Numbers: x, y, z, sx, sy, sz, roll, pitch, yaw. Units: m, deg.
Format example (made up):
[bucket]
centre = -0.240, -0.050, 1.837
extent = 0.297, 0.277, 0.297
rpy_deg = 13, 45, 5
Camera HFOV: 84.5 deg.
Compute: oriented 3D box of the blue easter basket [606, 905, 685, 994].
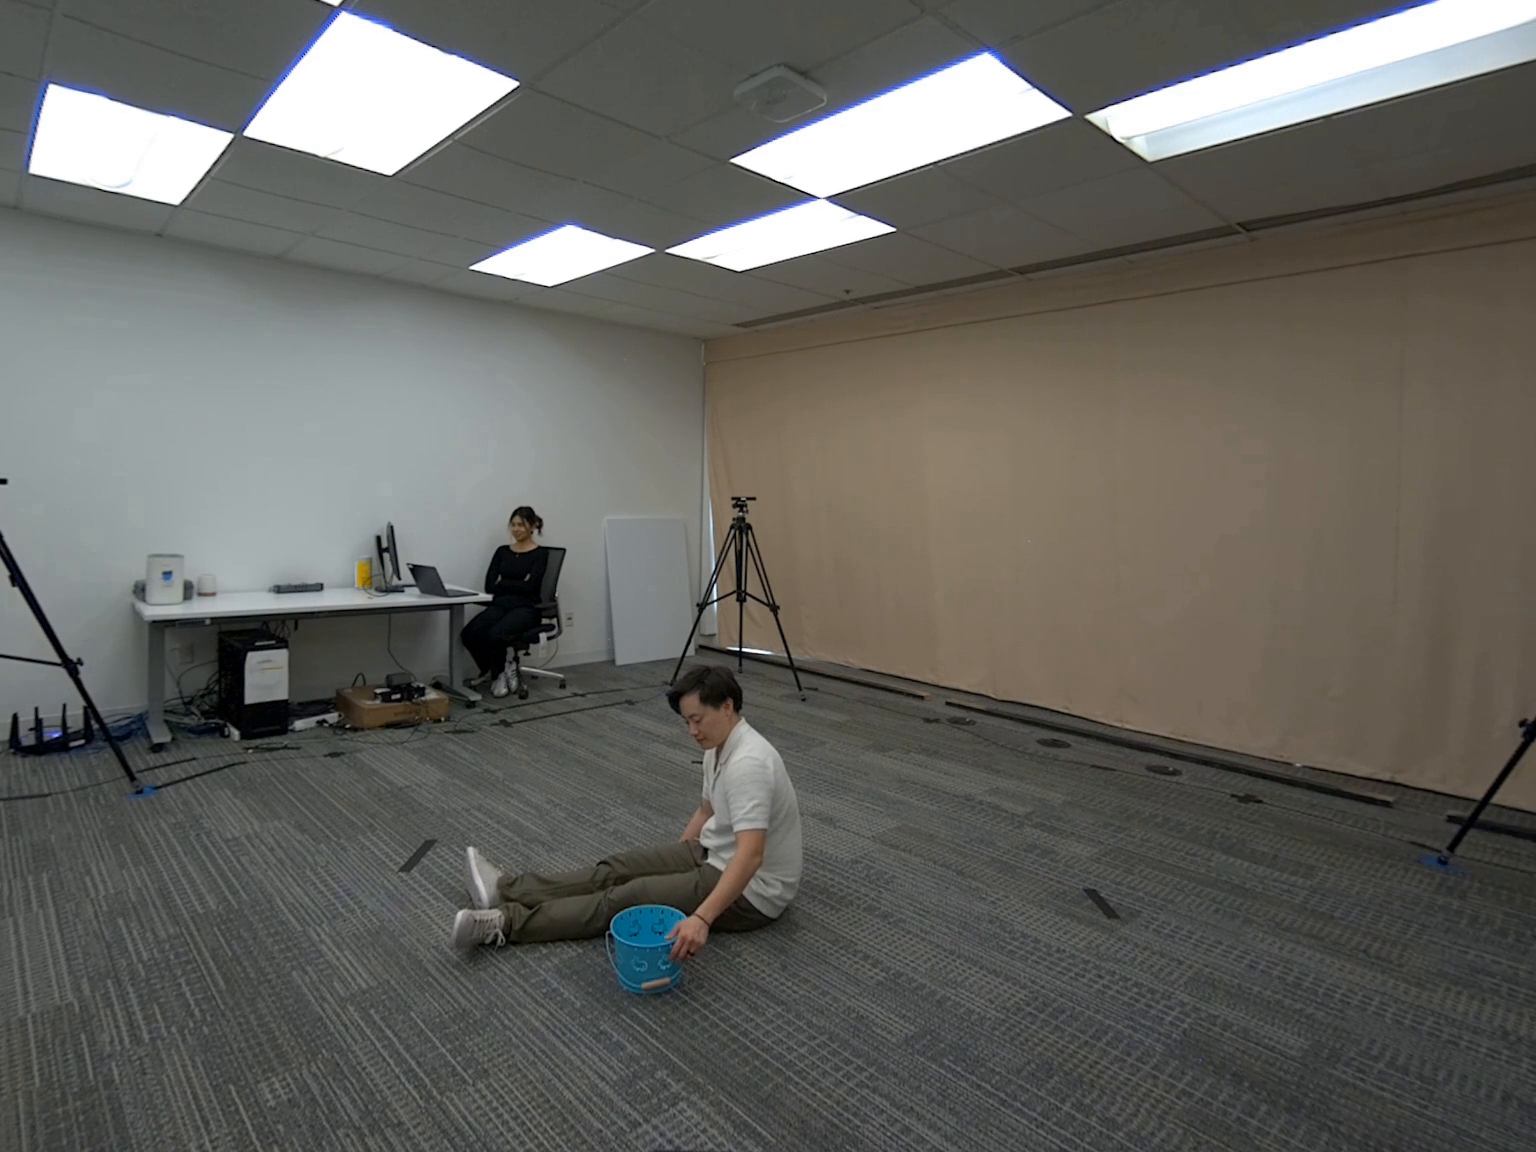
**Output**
[blue easter basket]
centre = -0.357, 1.090, 2.432
extent = 0.243, 0.155, 0.244
rpy_deg = 0, 4, -1
